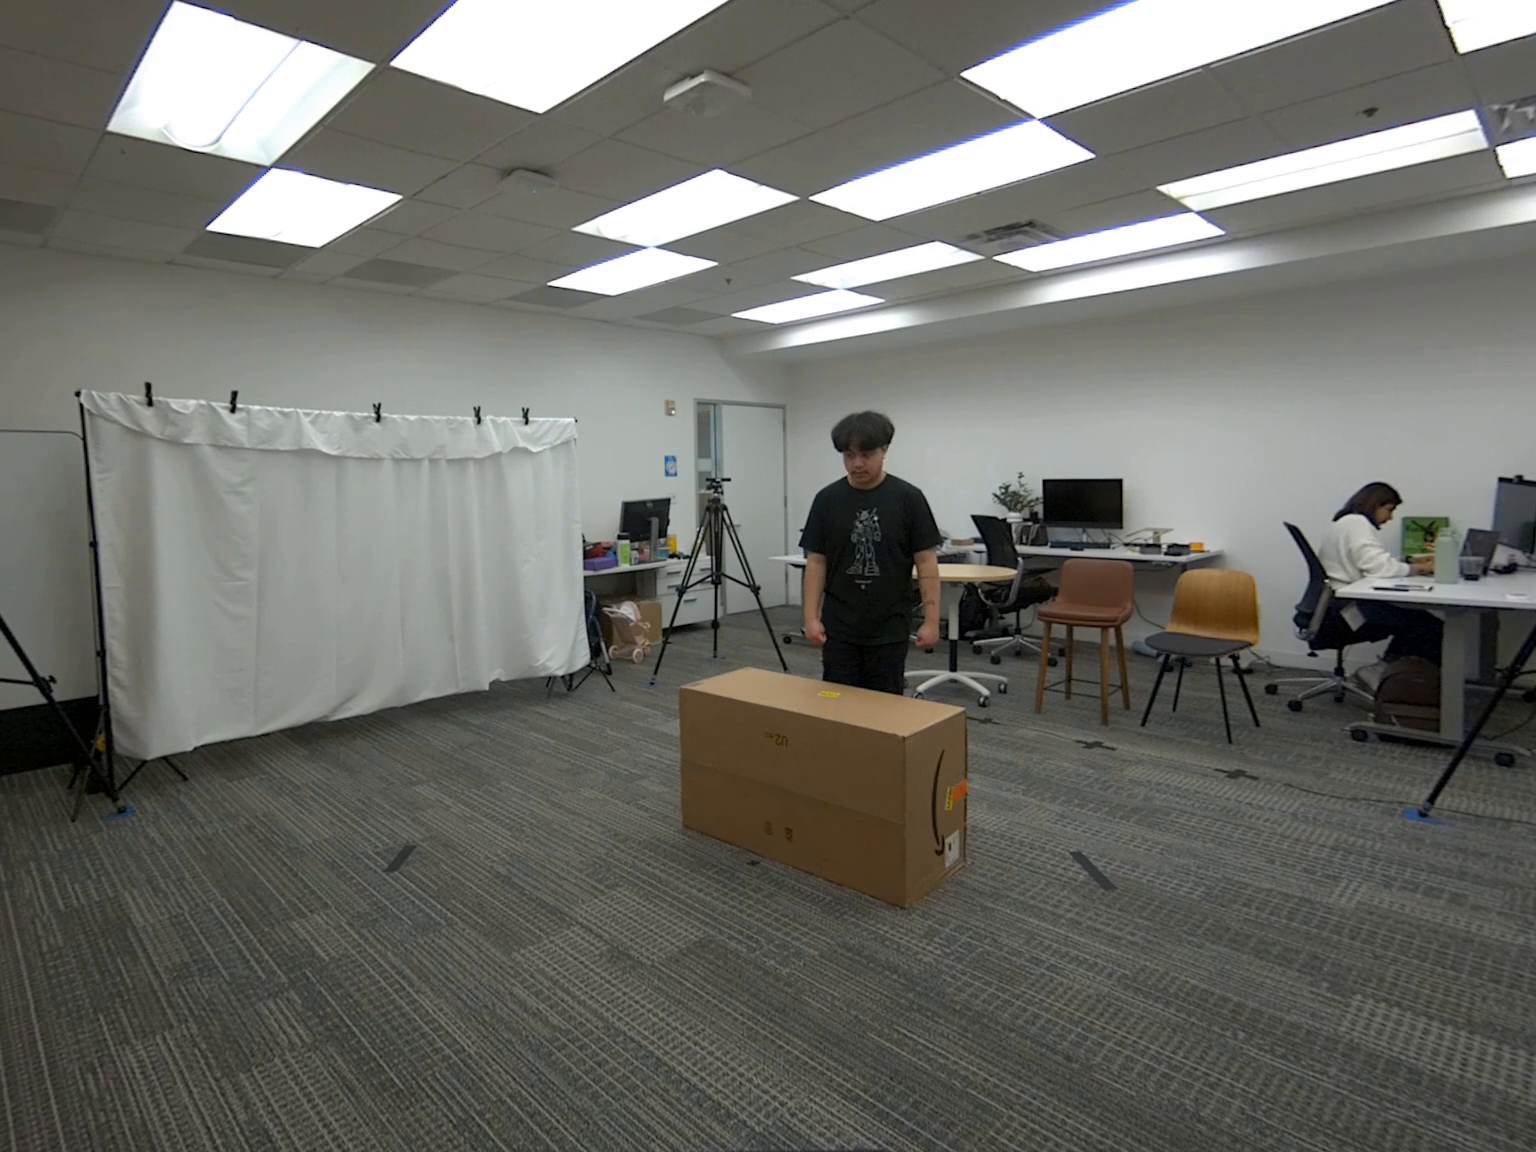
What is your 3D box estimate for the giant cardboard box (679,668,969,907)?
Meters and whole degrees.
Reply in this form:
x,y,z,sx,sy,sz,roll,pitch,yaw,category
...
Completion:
x,y,z,sx,sy,sz,roll,pitch,yaw,category
0.178,0.740,3.225,1.059,0.582,0.435,5,6,41,giant cardboard box
